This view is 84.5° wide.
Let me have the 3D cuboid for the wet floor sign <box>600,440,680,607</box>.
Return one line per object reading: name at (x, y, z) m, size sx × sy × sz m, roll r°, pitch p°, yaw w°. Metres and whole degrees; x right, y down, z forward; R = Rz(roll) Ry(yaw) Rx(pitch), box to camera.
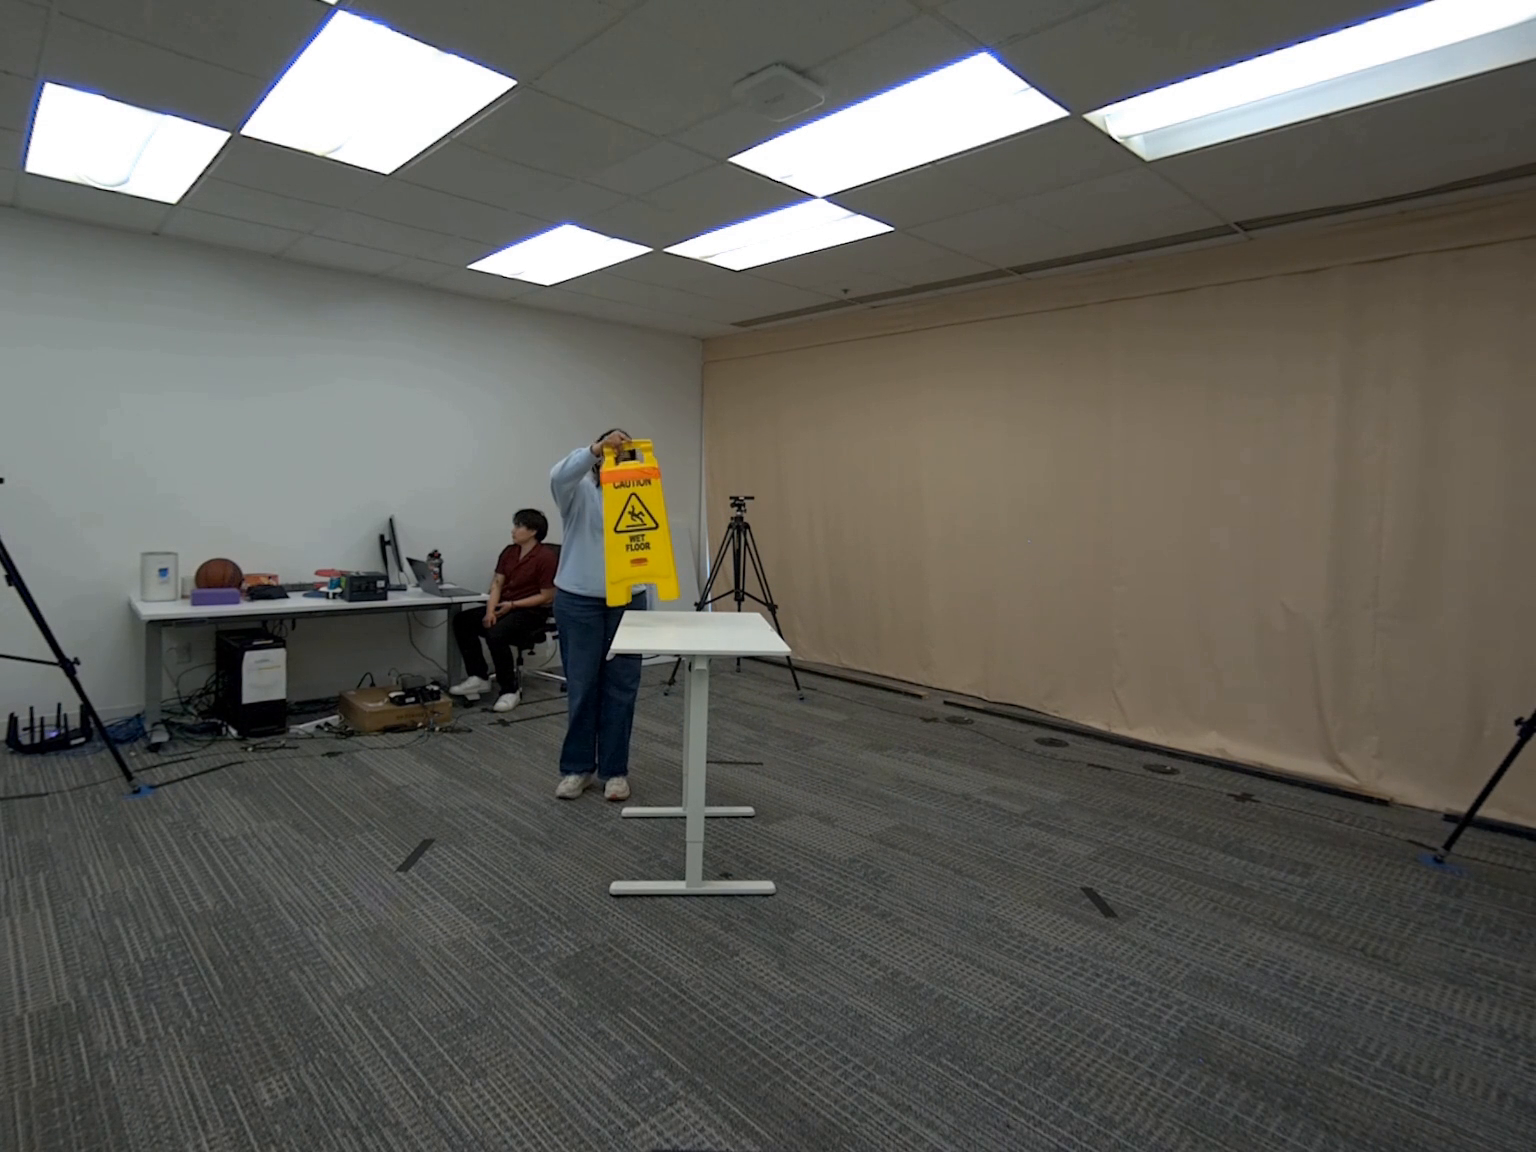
wet floor sign at (-0.534, -0.215, 3.394) m, size 0.281 × 0.646 × 0.290 m, roll -6°, pitch 0°, yaw -4°
